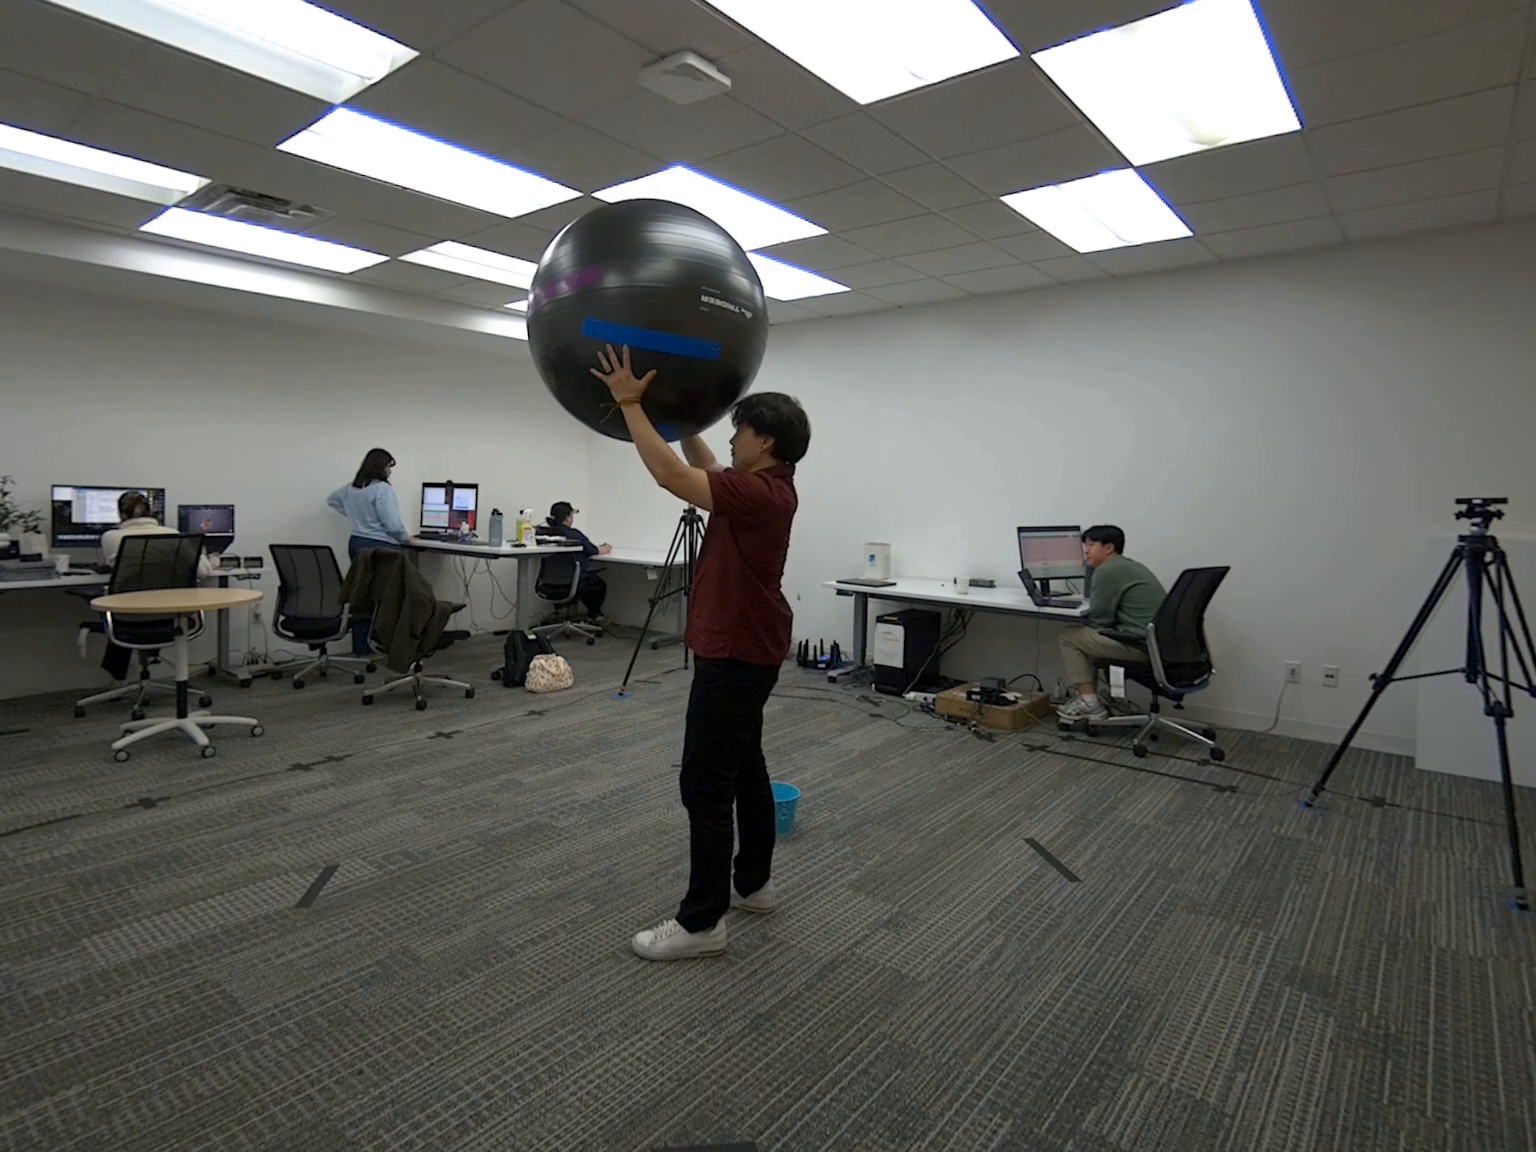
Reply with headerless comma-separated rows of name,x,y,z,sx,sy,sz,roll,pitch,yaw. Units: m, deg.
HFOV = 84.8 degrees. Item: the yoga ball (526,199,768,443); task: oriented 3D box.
yoga ball,-0.390,-0.799,2.694,0.757,0.755,0.762,1,4,-2
